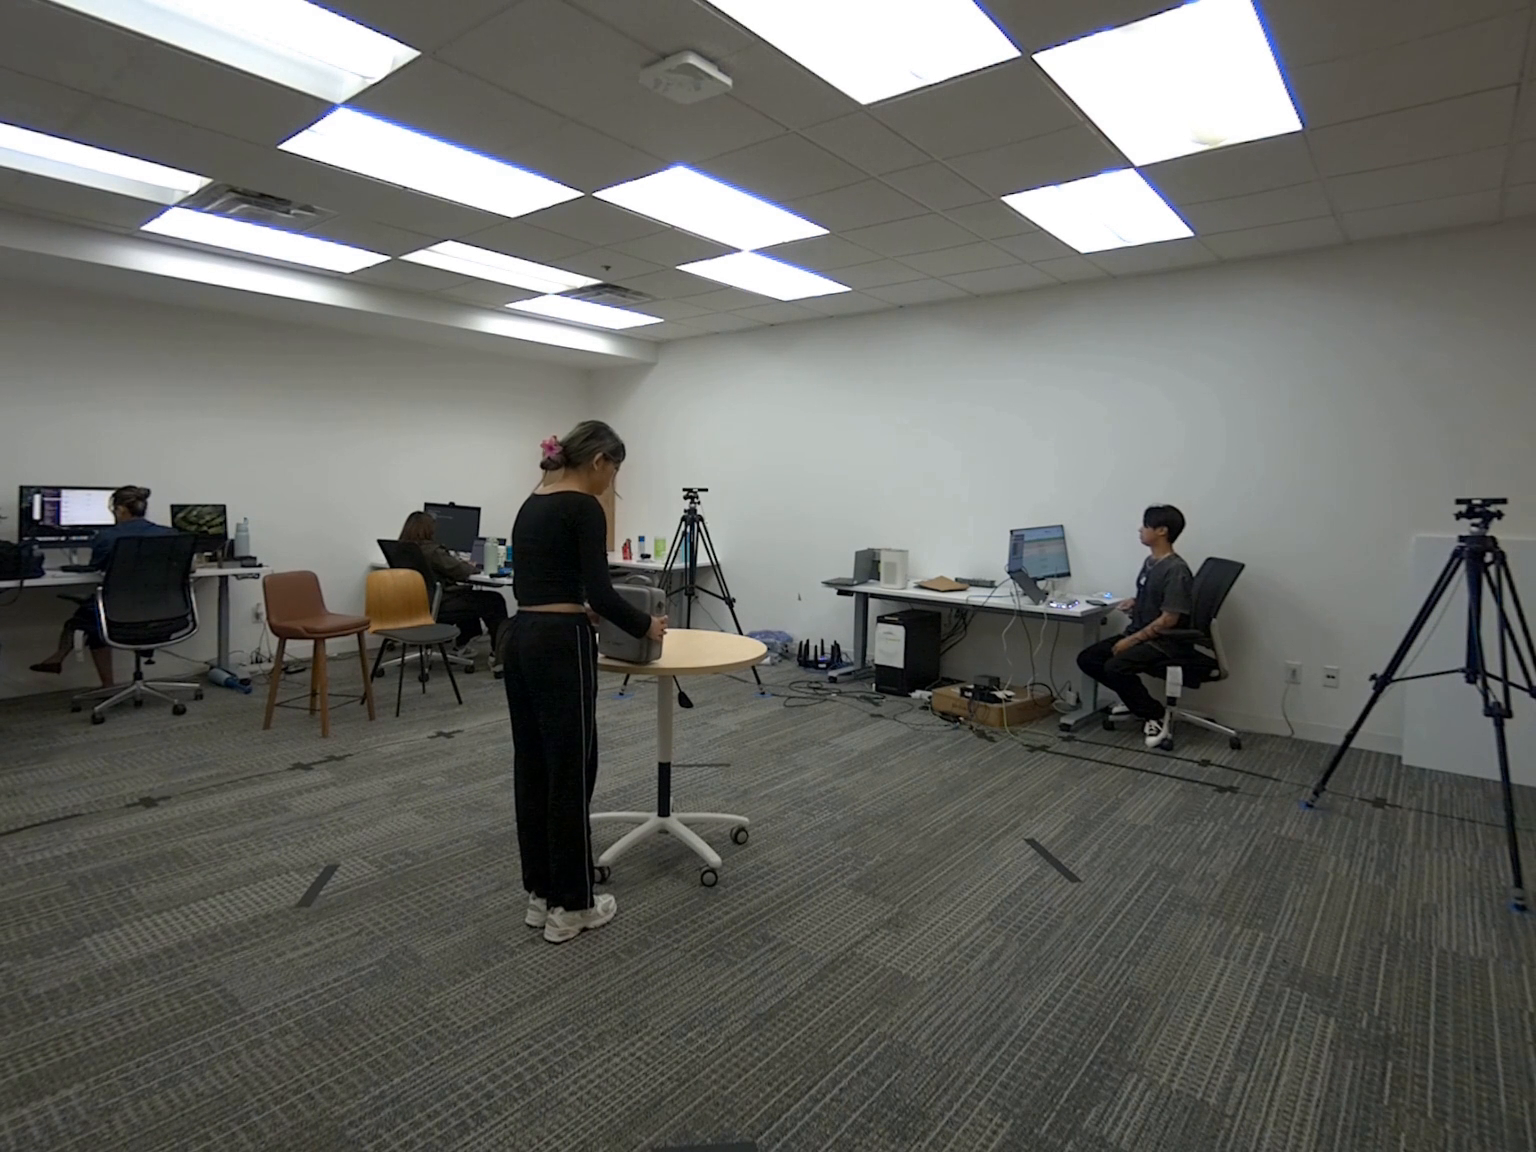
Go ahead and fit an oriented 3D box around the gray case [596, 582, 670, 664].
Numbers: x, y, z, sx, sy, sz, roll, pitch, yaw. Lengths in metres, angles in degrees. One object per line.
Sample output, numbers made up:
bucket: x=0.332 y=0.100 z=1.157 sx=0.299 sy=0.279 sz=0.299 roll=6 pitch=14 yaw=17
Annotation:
gray case: x=-0.482 y=0.157 z=2.961 sx=0.100 sy=0.261 sz=0.265 roll=9 pitch=-4 yaw=-43
